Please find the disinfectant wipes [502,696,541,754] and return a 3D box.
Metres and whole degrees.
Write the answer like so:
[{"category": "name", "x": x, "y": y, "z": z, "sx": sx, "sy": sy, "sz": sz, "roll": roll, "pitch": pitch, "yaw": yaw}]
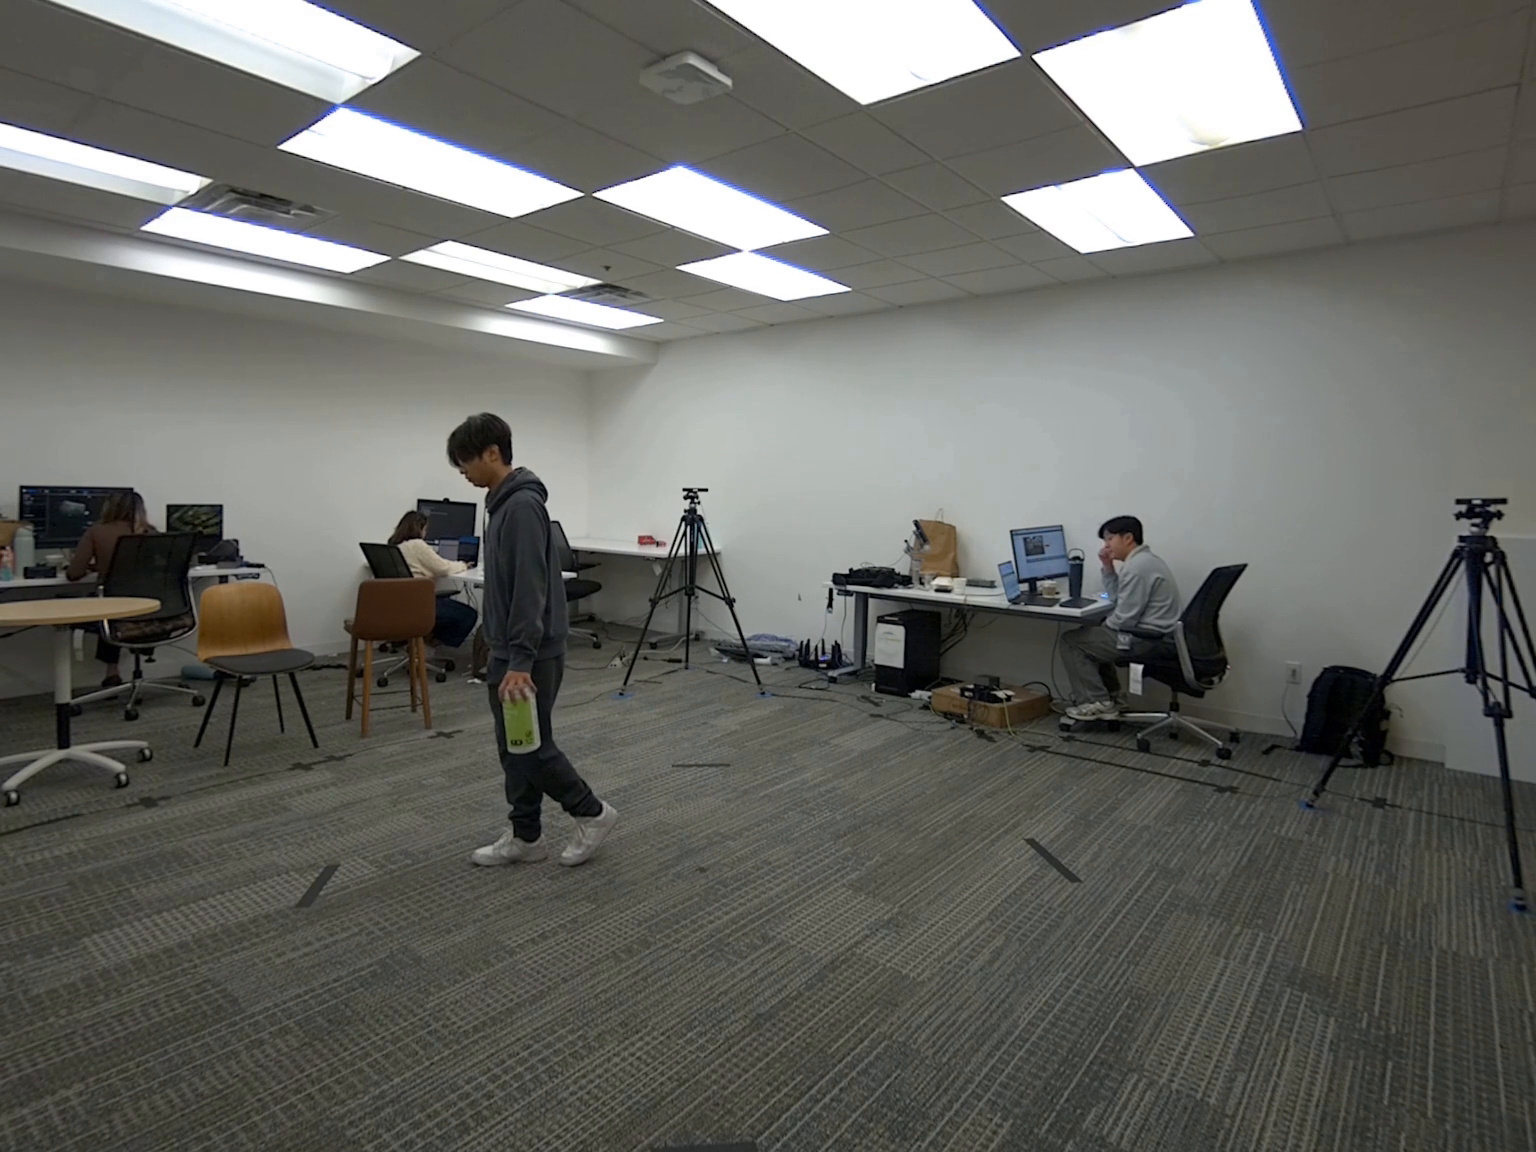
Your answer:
[{"category": "disinfectant wipes", "x": -0.840, "y": 0.468, "z": 2.837, "sx": 0.118, "sy": 0.215, "sz": 0.119, "roll": -6, "pitch": 8, "yaw": -1}]
